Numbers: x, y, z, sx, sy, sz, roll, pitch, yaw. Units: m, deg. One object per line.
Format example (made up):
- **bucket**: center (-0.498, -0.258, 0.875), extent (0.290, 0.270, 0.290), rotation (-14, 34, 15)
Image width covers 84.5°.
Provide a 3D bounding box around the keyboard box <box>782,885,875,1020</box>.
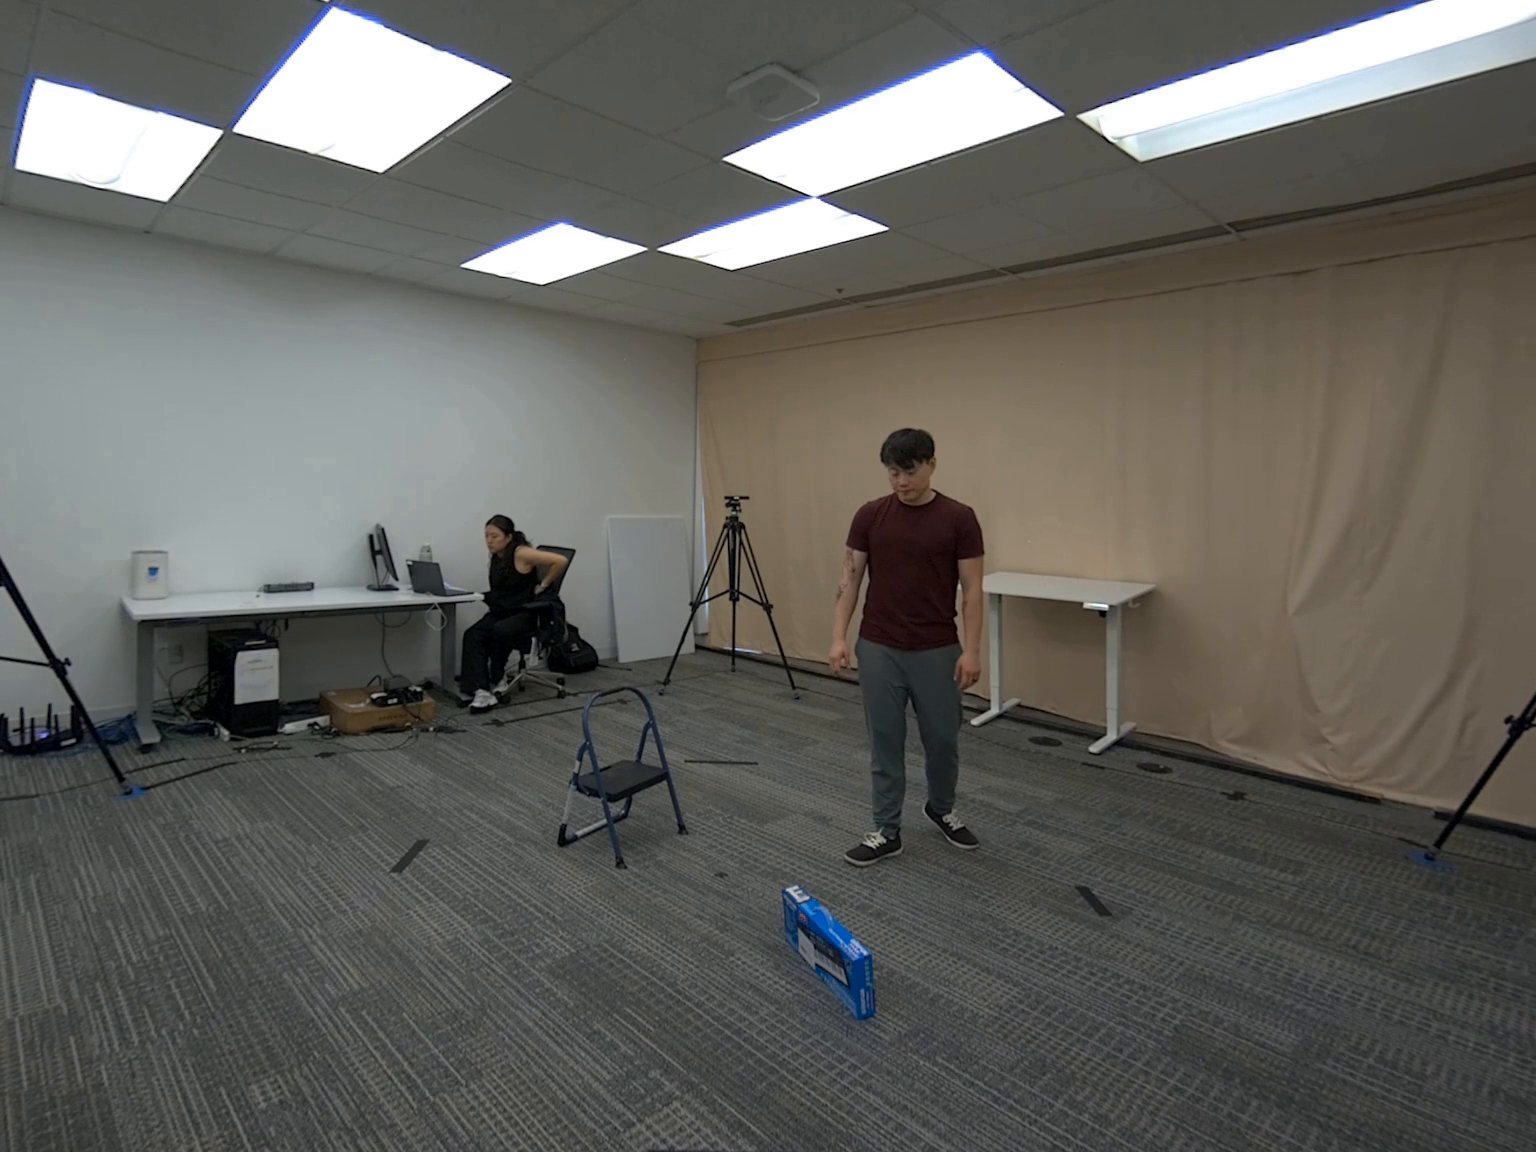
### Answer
- **keyboard box**: center (0.161, 1.085, 2.459), extent (0.058, 0.175, 0.446), rotation (-7, 8, -23)
